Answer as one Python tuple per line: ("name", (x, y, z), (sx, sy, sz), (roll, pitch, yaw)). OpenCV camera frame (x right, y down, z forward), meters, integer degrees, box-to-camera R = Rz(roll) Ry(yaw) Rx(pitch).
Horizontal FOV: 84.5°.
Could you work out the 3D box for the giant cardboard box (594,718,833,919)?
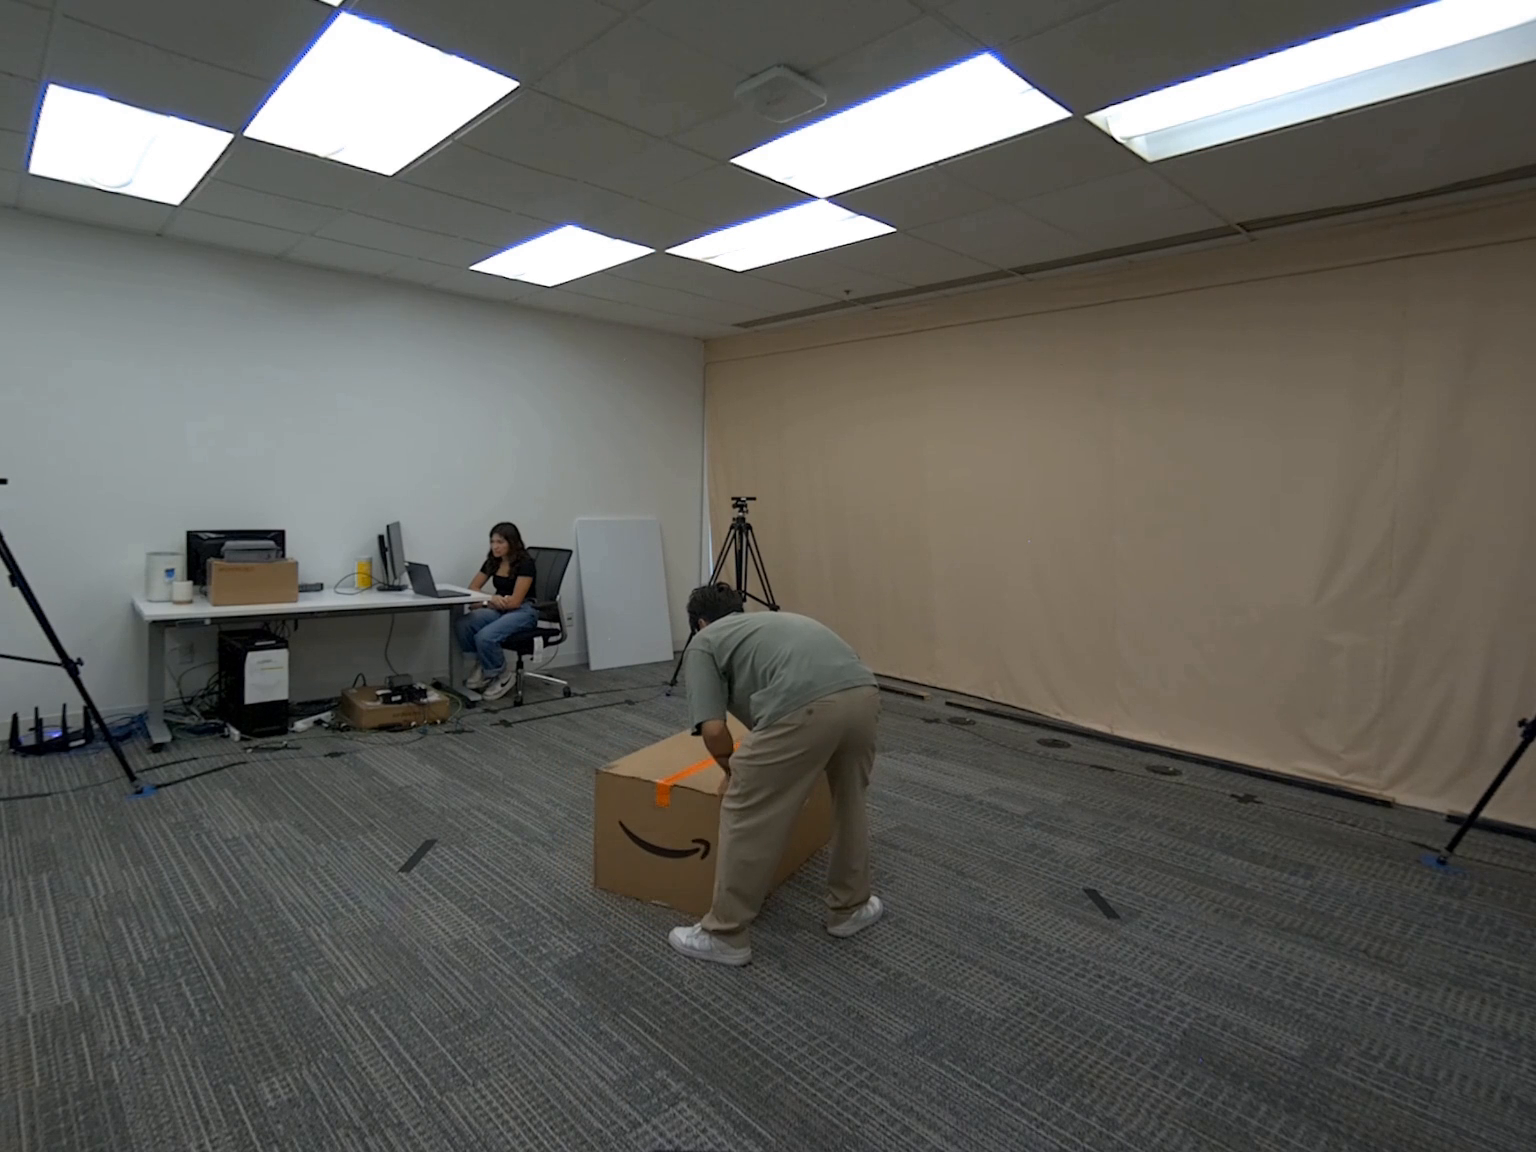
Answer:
("giant cardboard box", (-0.144, 0.873, 3.303), (0.589, 0.425, 1.008), (3, 5, 26))
